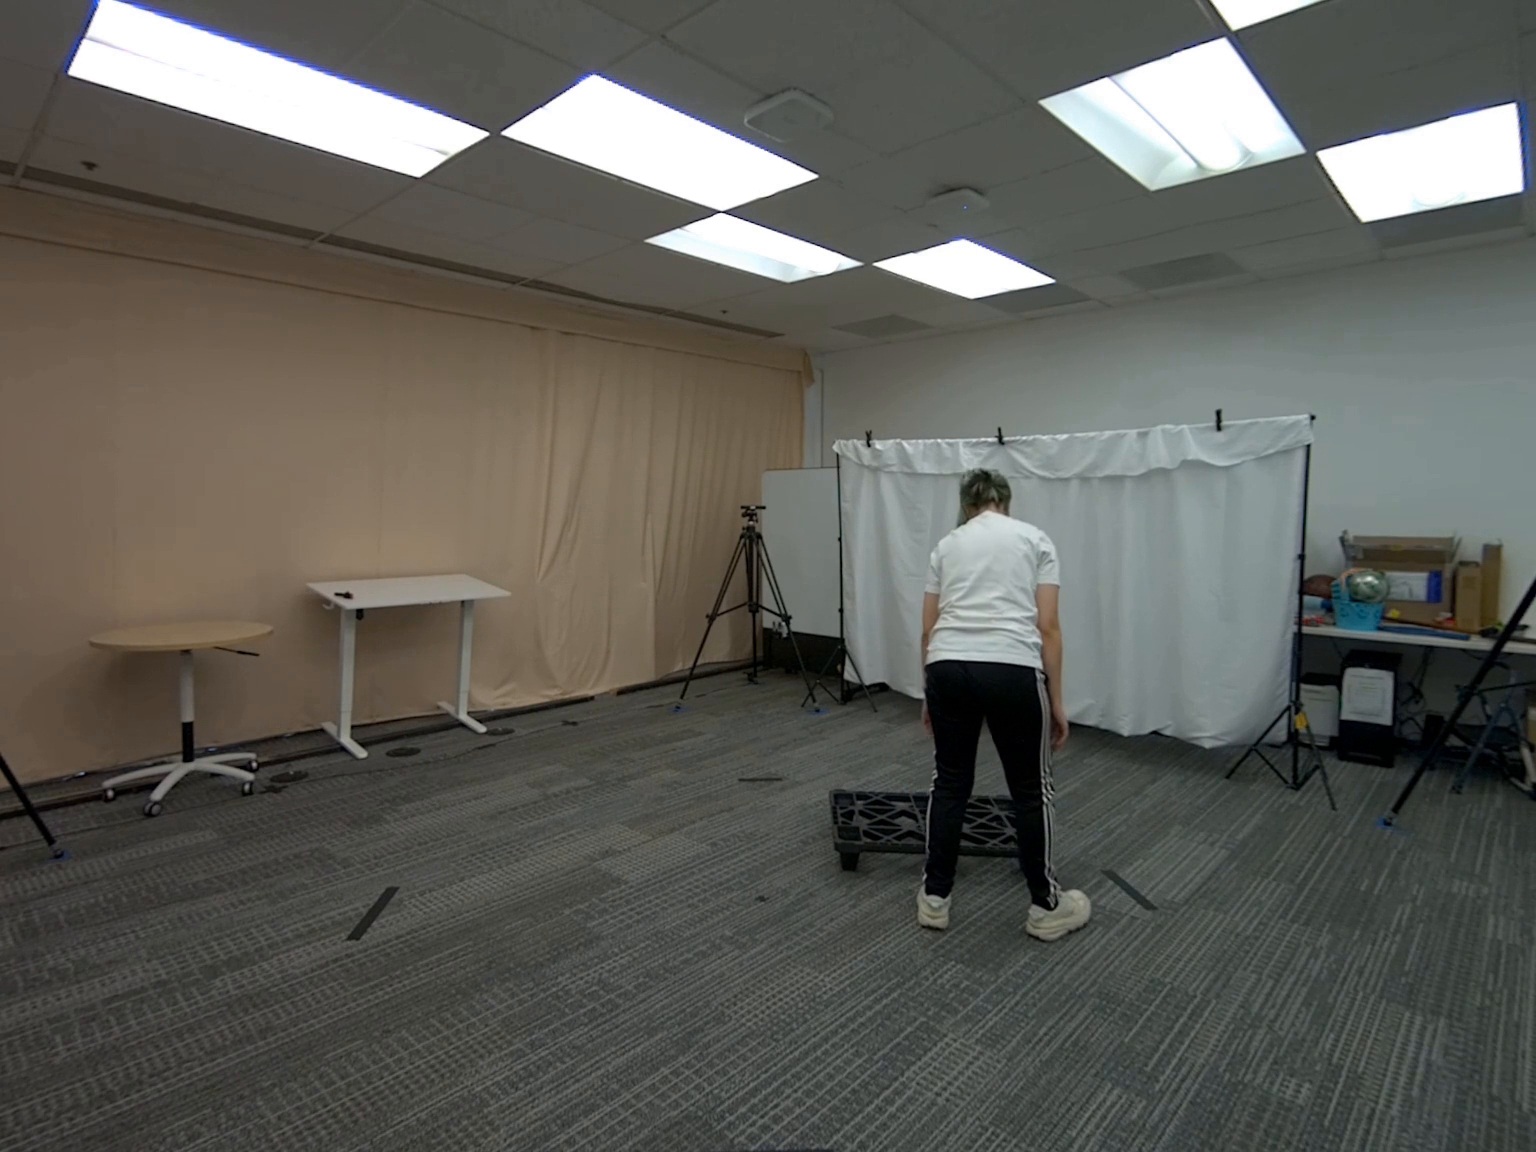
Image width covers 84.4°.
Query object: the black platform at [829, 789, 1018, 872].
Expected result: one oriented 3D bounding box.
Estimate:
[{"bbox_3d":[0.659,1.039,3.401,0.810,0.143,0.603,1,4,4],"label":"black platform"}]
